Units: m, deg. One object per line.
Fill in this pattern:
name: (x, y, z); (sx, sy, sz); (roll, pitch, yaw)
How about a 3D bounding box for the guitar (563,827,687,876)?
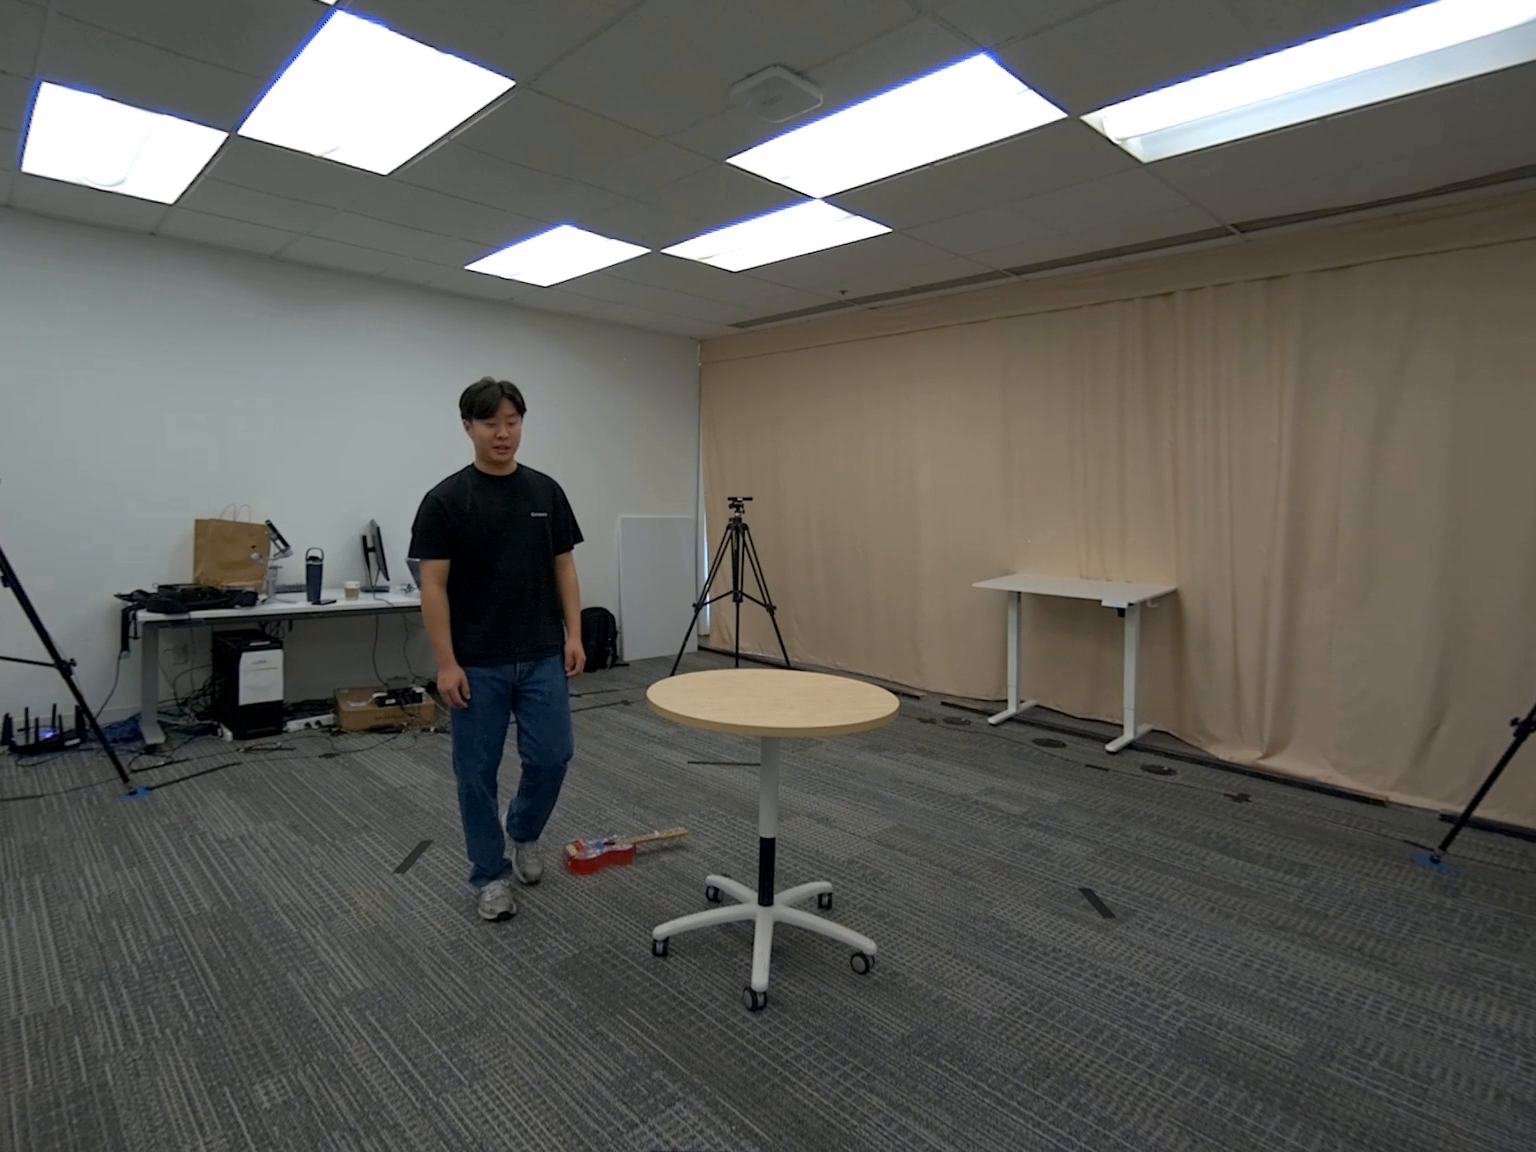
guitar: (-0.540, 1.053, 3.232); (0.491, 0.070, 0.196); (-1, 5, -19)
